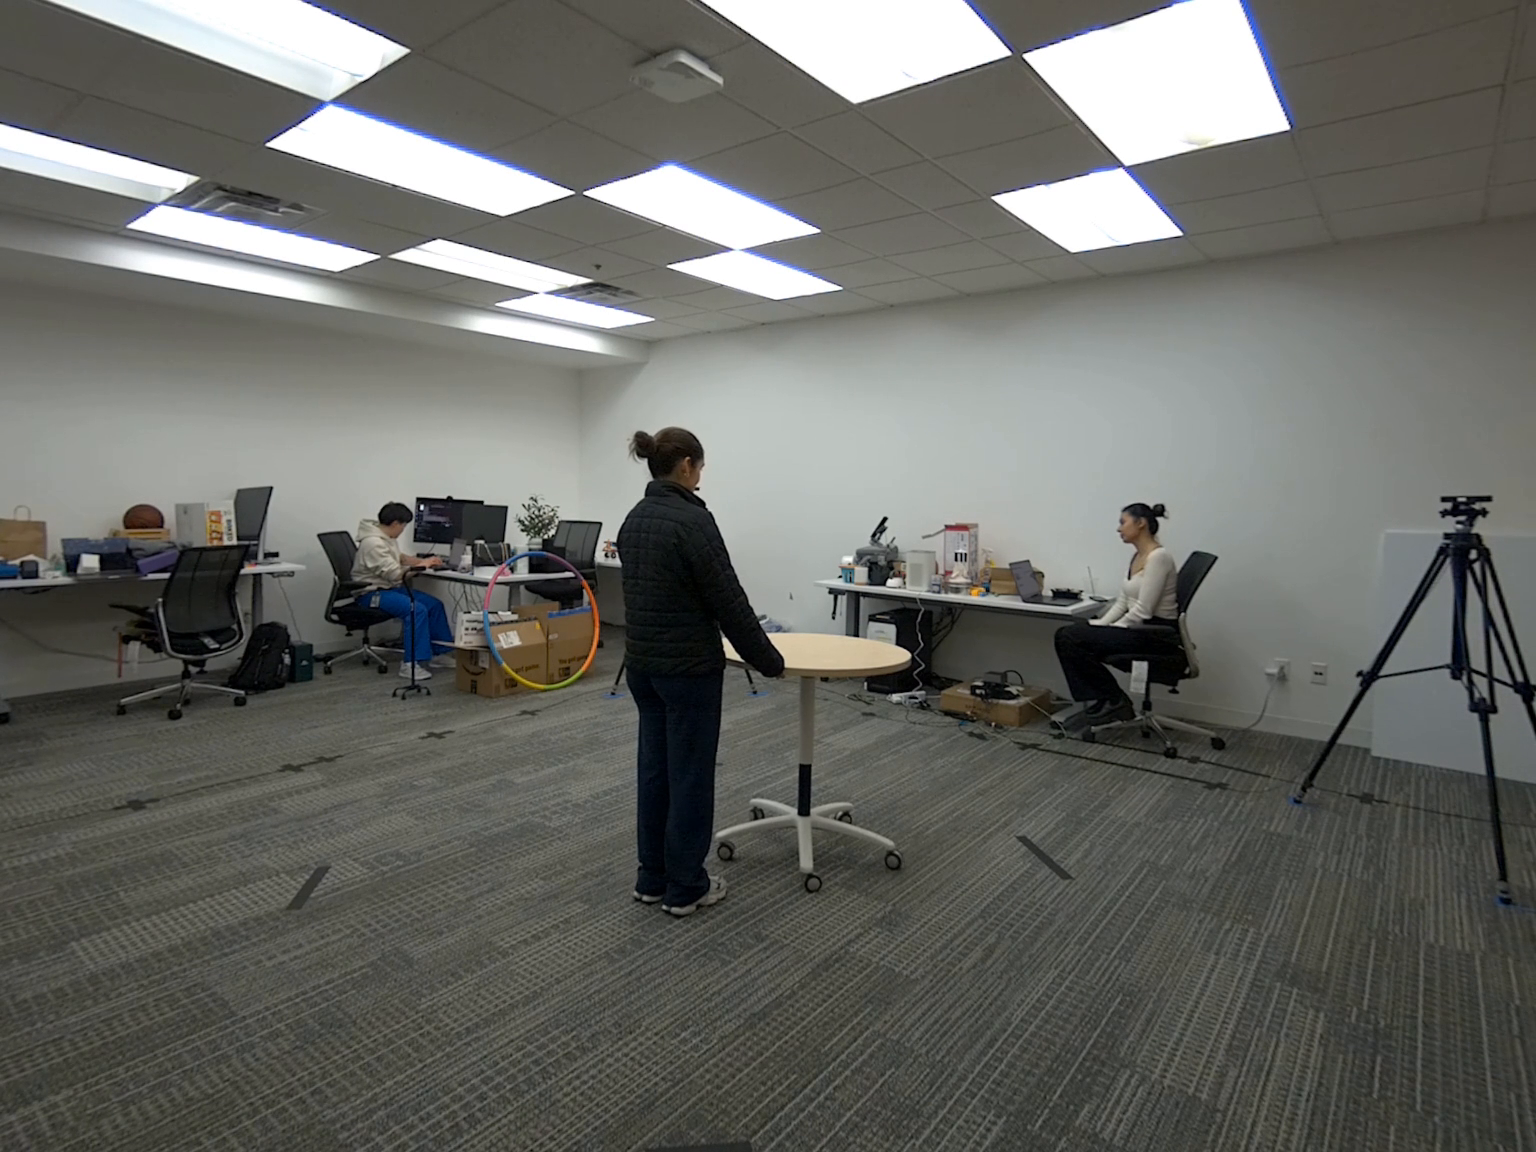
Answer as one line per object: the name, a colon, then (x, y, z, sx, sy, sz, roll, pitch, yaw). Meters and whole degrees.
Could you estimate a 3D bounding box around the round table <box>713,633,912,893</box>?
round table: (0.151, 0.662, 3.275, 0.784, 0.784, 0.789, 1, 4, -2)
